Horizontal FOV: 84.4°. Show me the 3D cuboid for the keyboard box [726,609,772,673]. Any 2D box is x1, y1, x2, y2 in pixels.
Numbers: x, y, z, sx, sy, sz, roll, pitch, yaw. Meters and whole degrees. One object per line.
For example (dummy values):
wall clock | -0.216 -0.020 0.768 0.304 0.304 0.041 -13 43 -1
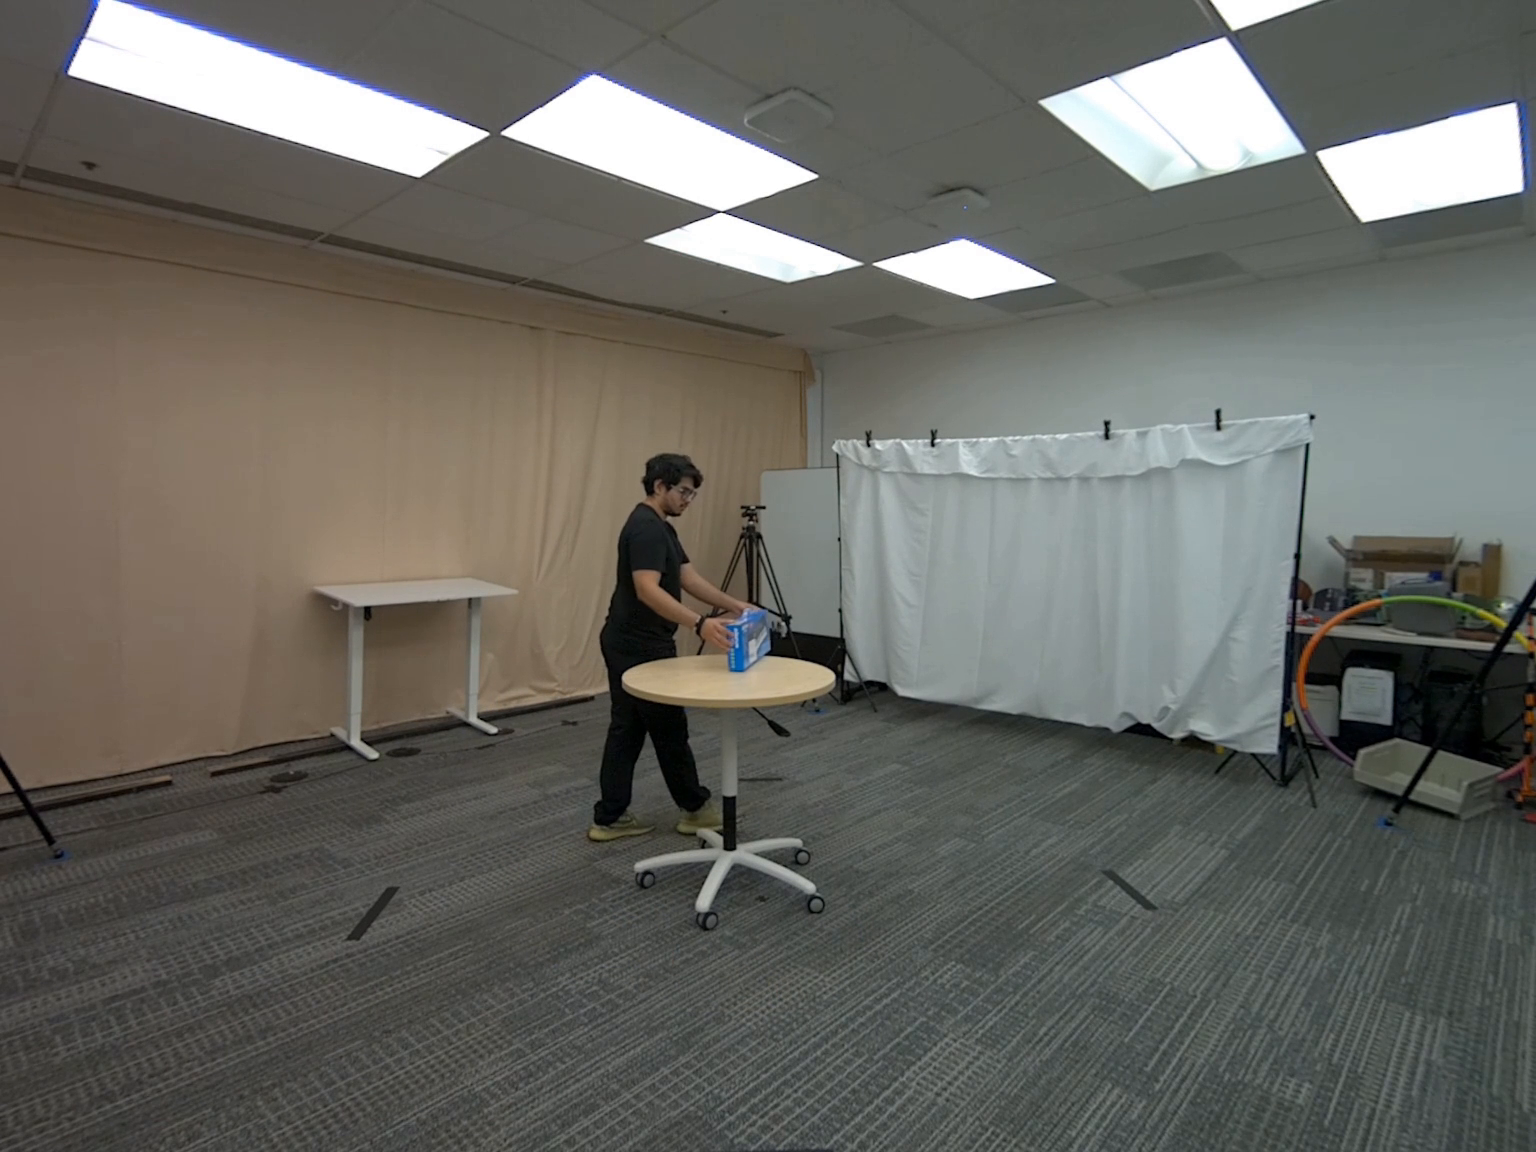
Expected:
keyboard box | -0.066 0.246 3.284 0.060 0.175 0.431 -2 5 14
